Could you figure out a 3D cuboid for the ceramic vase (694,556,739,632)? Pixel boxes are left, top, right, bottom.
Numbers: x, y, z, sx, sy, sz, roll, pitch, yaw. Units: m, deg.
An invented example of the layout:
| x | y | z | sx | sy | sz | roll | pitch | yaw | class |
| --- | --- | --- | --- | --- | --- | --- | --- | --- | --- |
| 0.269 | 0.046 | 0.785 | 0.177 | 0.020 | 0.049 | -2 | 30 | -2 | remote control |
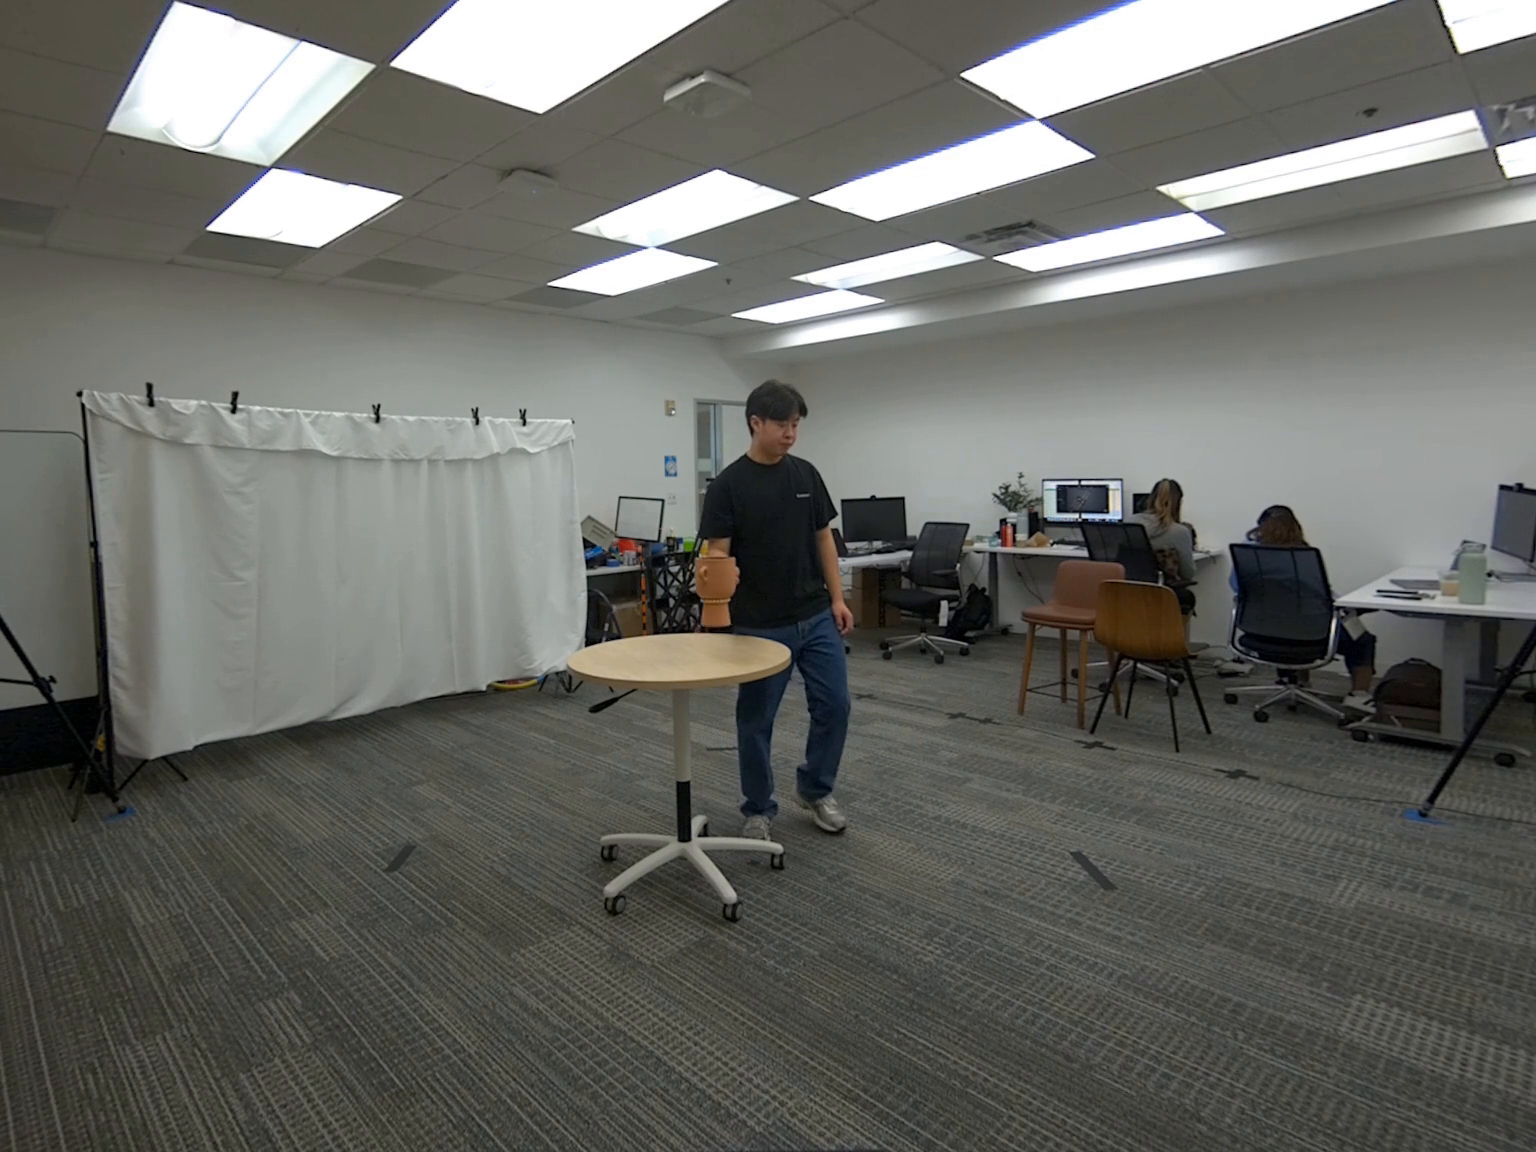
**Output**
| x | y | z | sx | sy | sz | roll | pitch | yaw | class |
| --- | --- | --- | --- | --- | --- | --- | --- | --- | --- |
| -0.166 | 0.055 | 2.803 | 0.155 | 0.219 | 0.138 | -2 | 2 | -28 | ceramic vase |
